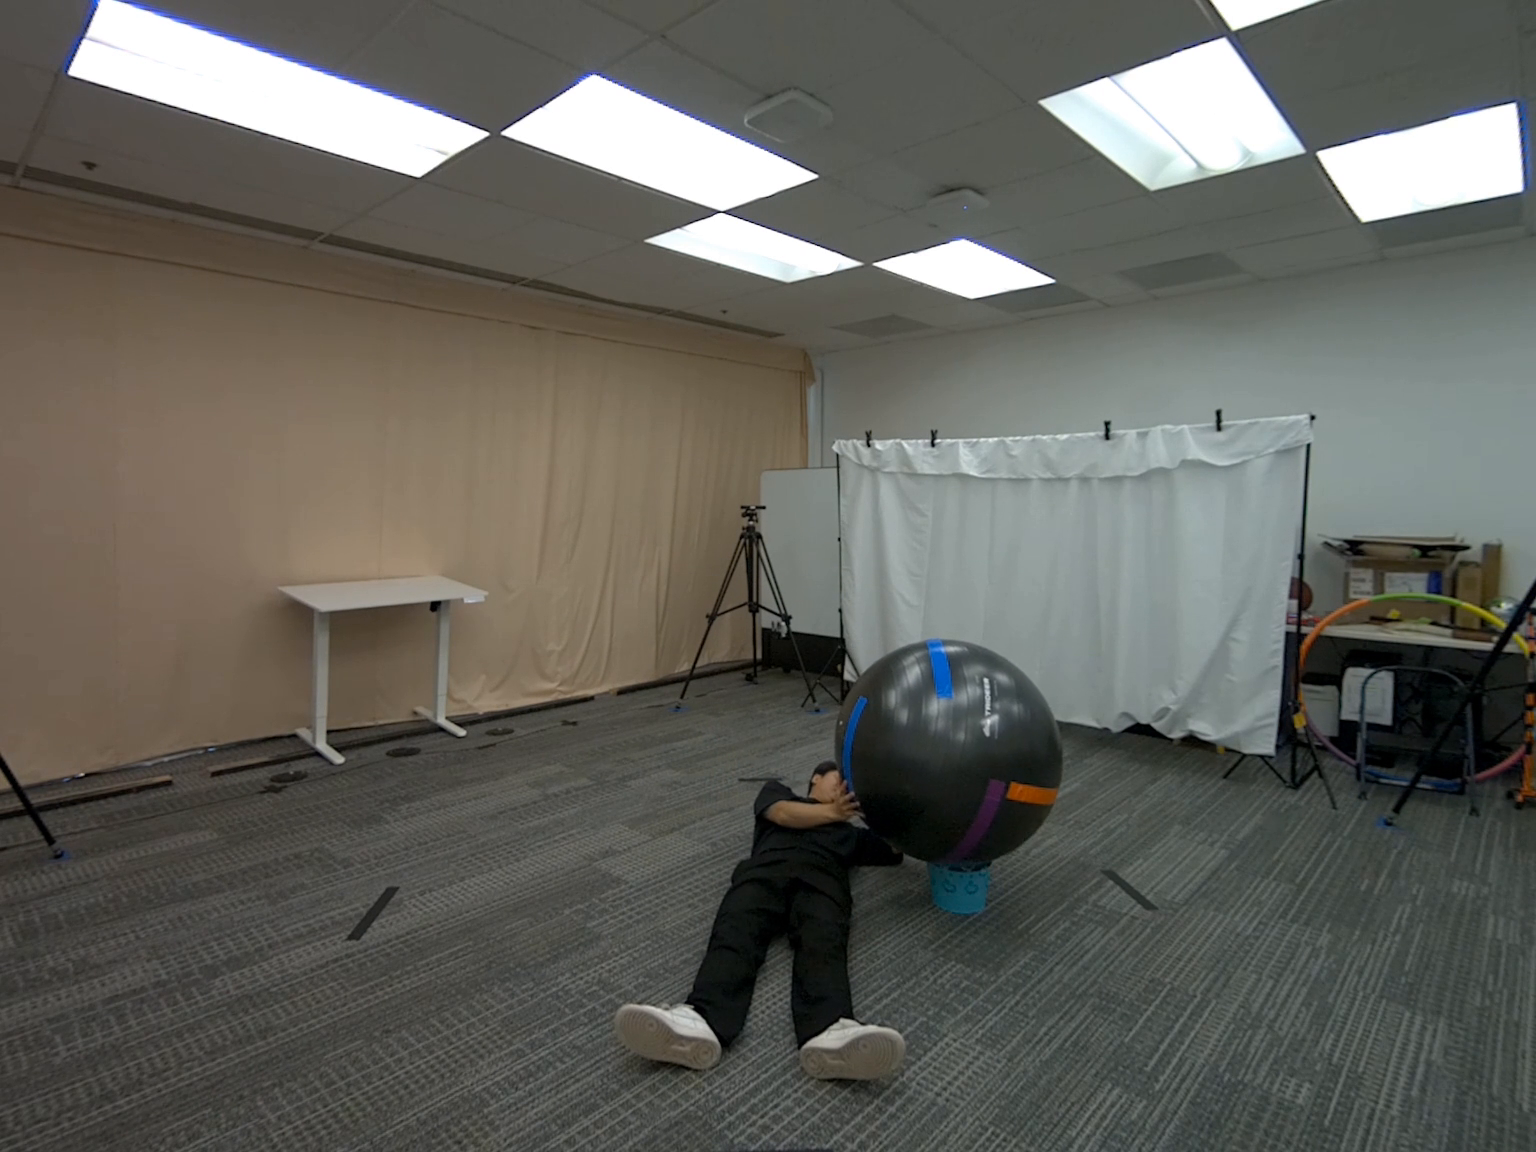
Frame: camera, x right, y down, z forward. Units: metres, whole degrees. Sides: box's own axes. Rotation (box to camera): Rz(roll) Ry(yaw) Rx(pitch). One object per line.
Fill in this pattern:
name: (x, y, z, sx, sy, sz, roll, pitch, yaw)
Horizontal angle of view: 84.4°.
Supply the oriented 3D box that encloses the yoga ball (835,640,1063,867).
yoga ball: (0.617, 0.603, 2.922, 0.757, 0.756, 0.760, 0, 4, -2)
